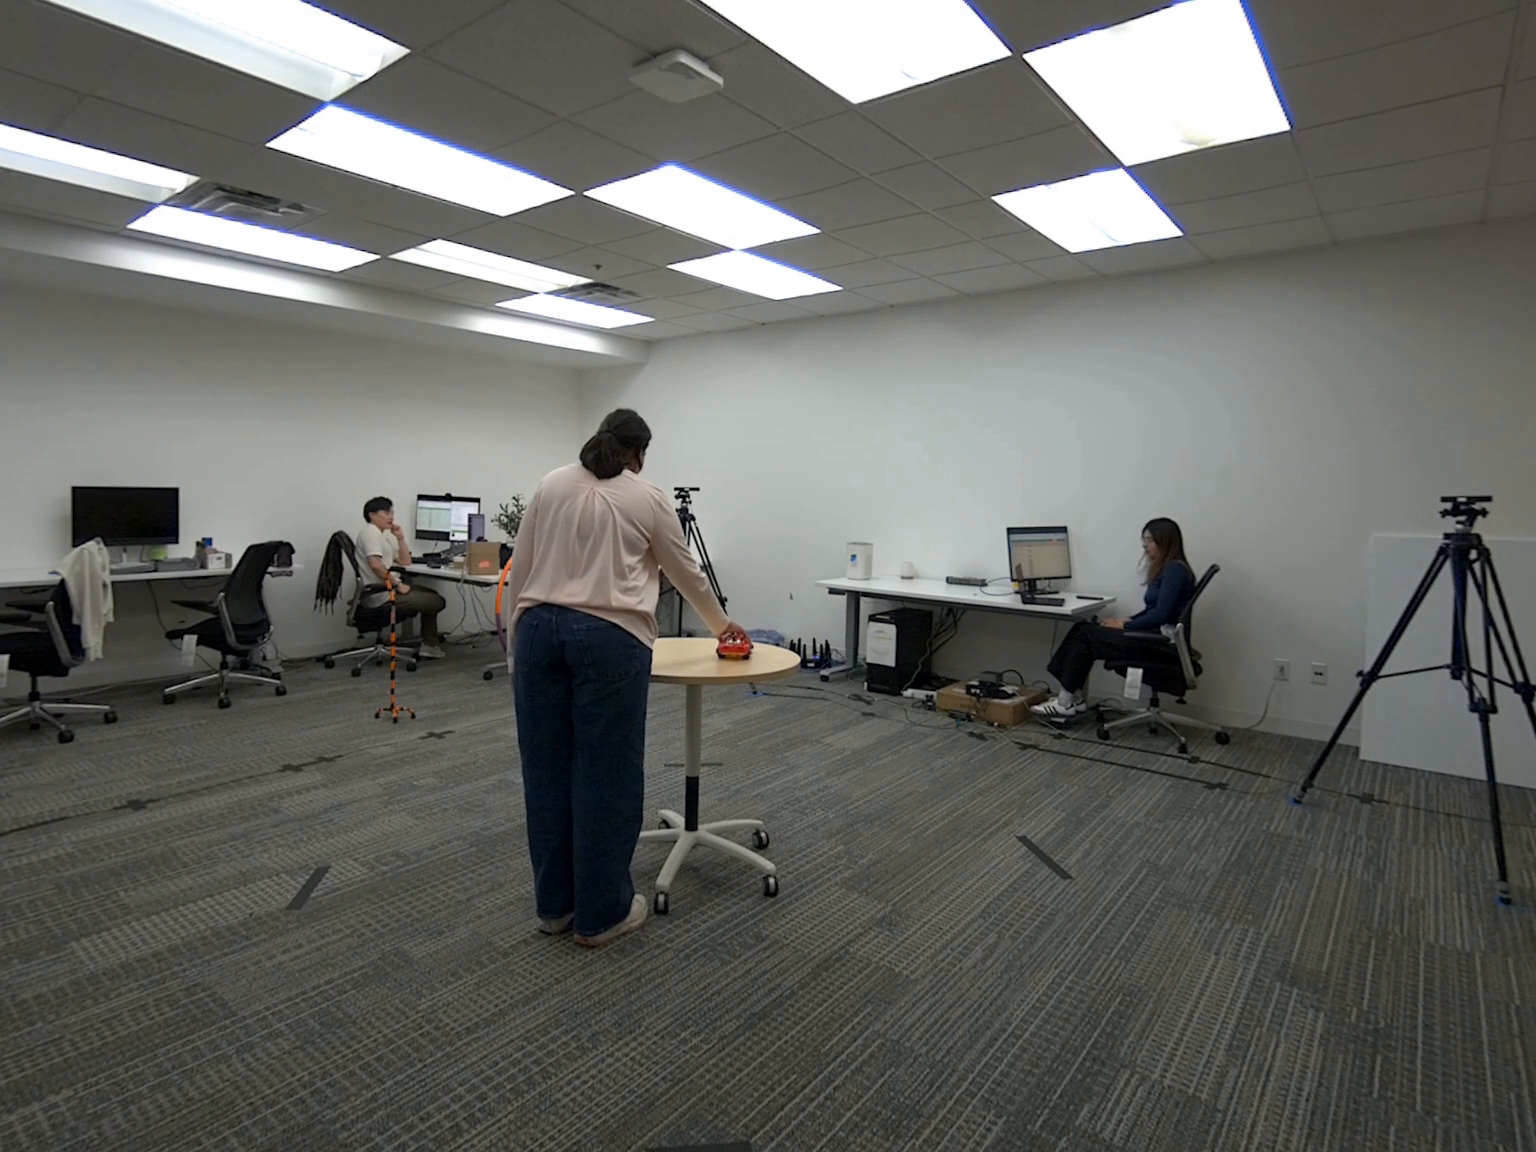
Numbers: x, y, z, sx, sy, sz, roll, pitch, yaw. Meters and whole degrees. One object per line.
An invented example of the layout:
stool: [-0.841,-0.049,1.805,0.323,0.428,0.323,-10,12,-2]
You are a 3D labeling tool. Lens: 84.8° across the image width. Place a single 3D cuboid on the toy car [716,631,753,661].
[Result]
toy car: [-0.131,0.256,3.088,0.130,0.084,0.252,3,-6,0]
